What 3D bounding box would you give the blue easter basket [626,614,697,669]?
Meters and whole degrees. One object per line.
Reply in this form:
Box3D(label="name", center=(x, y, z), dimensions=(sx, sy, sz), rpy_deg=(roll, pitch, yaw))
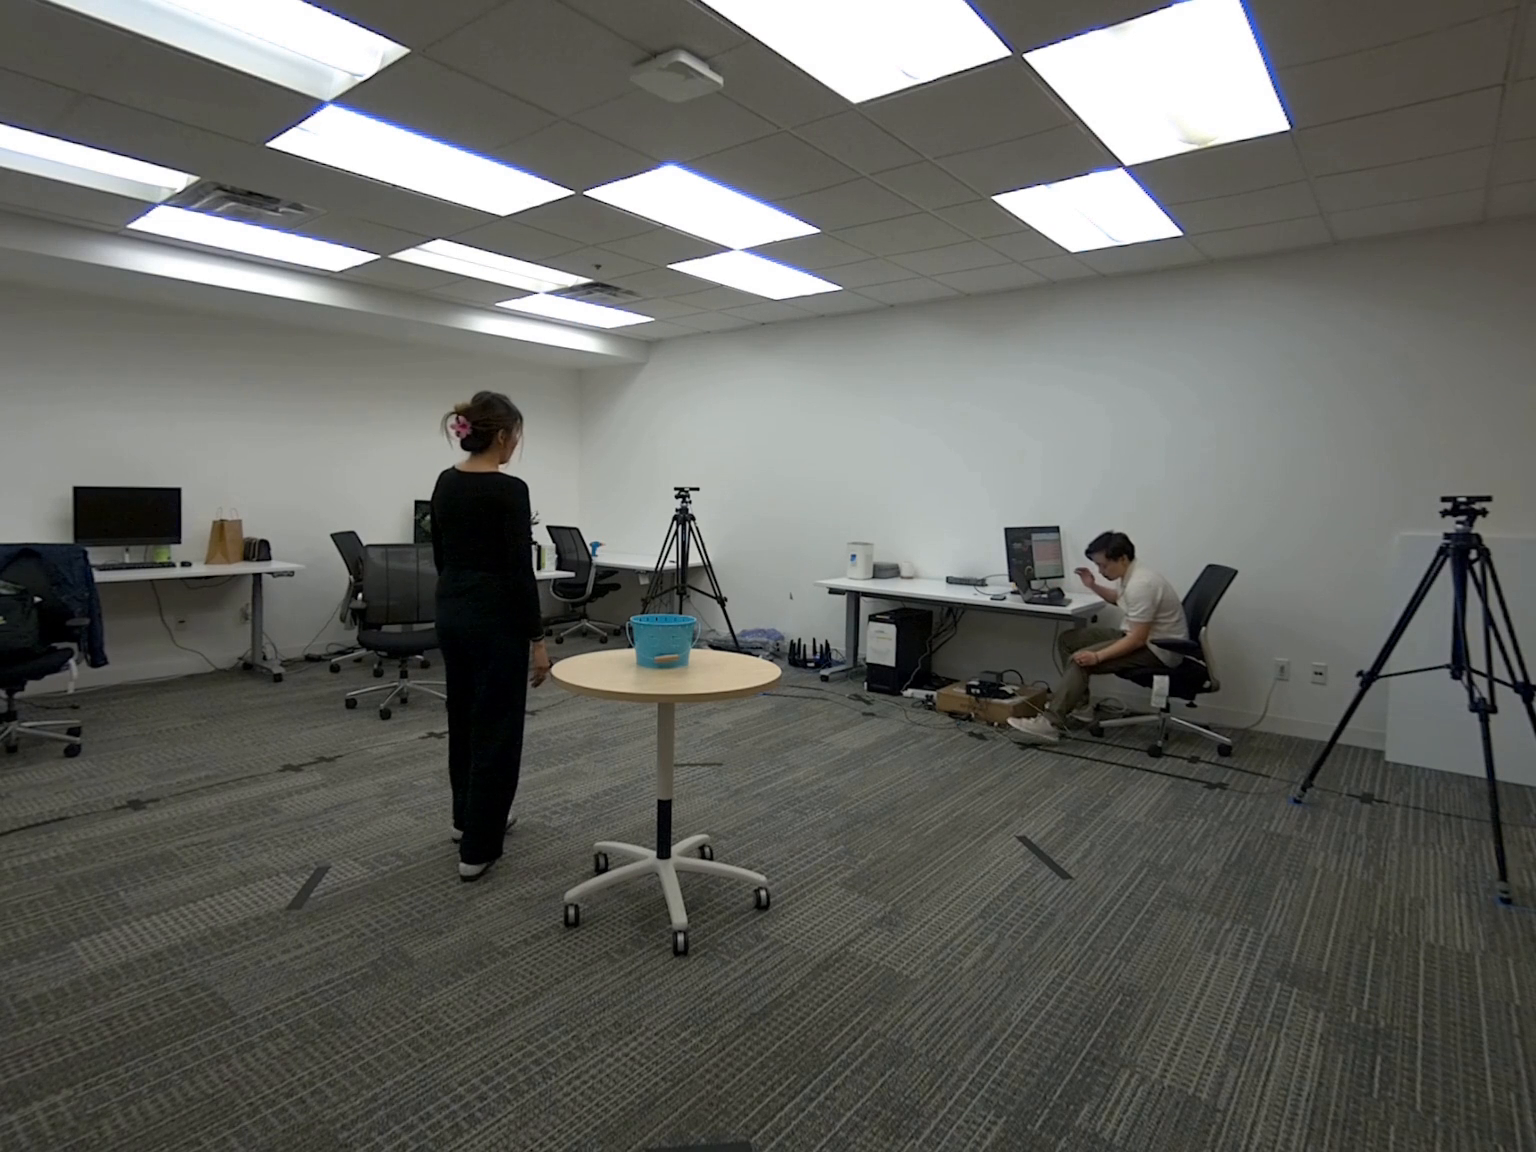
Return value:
Box3D(label="blue easter basket", center=(-0.377, 0.225, 2.925), dimensions=(0.243, 0.155, 0.244), rpy_deg=(1, 4, -2))
